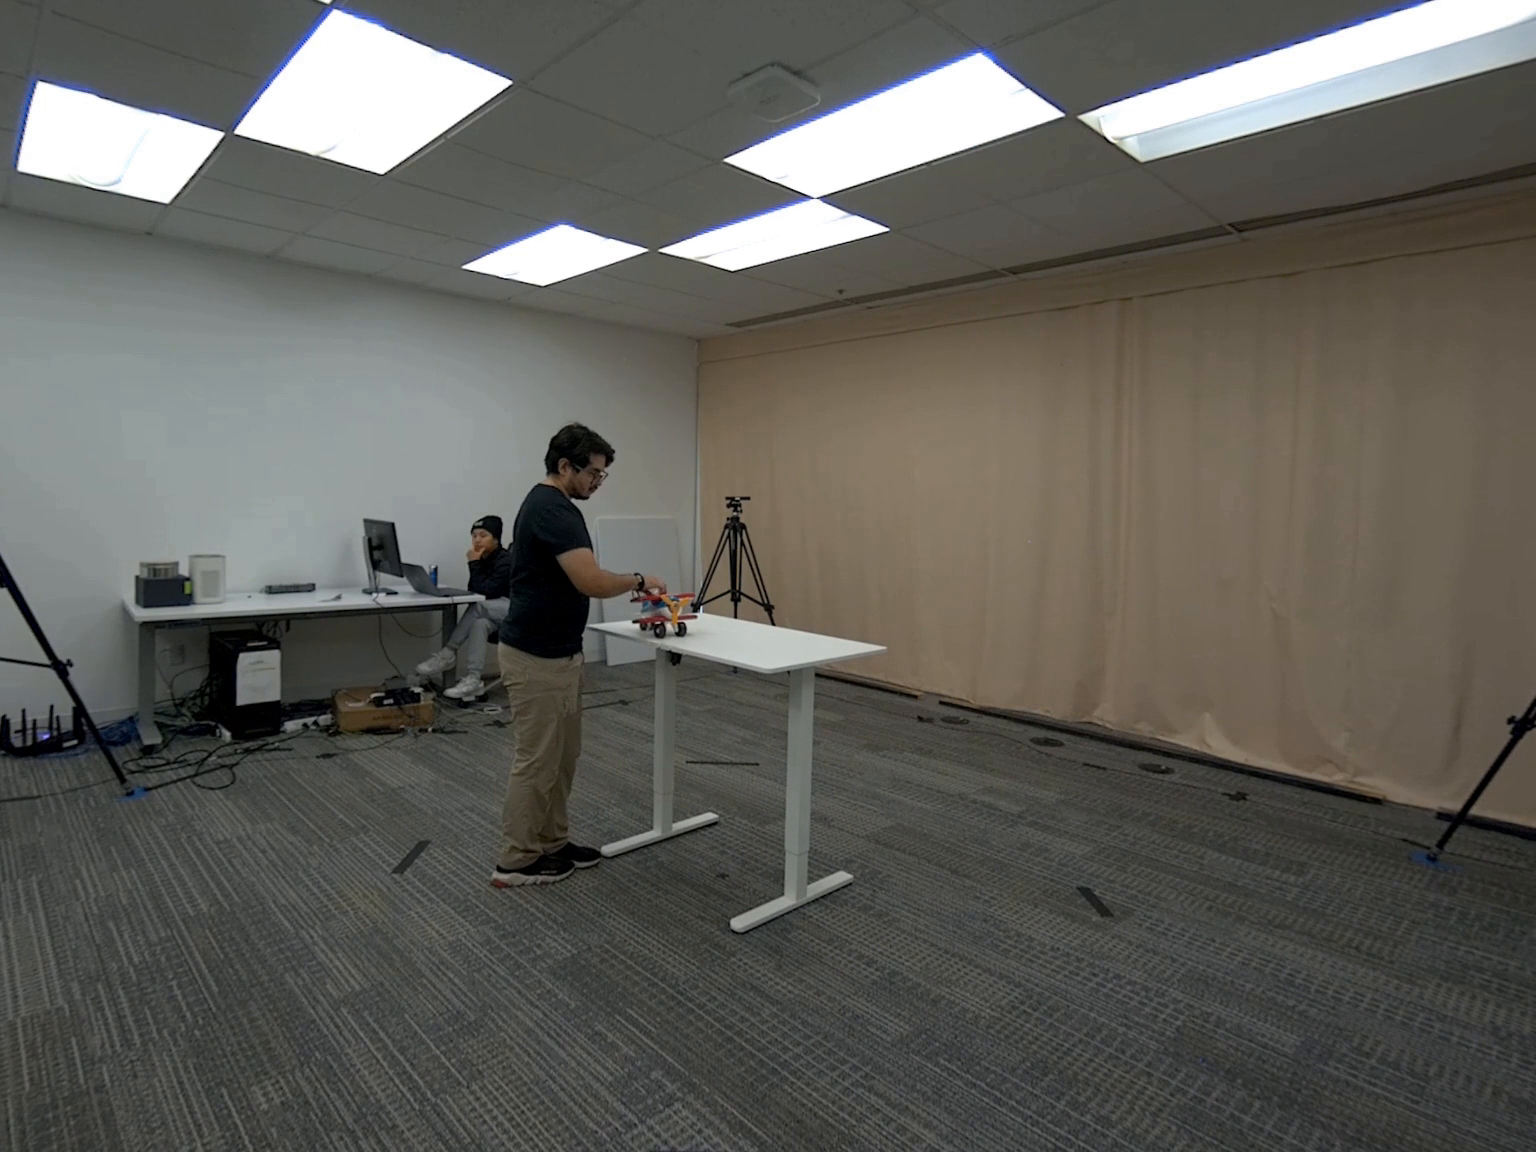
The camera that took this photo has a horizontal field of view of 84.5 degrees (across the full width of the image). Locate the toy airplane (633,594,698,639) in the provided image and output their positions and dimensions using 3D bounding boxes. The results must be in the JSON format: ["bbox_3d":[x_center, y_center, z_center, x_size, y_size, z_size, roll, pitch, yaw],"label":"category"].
[{"bbox_3d":[-0.421,0.140,3.102,0.265,0.156,0.246,5,6,29],"label":"toy airplane"}]
